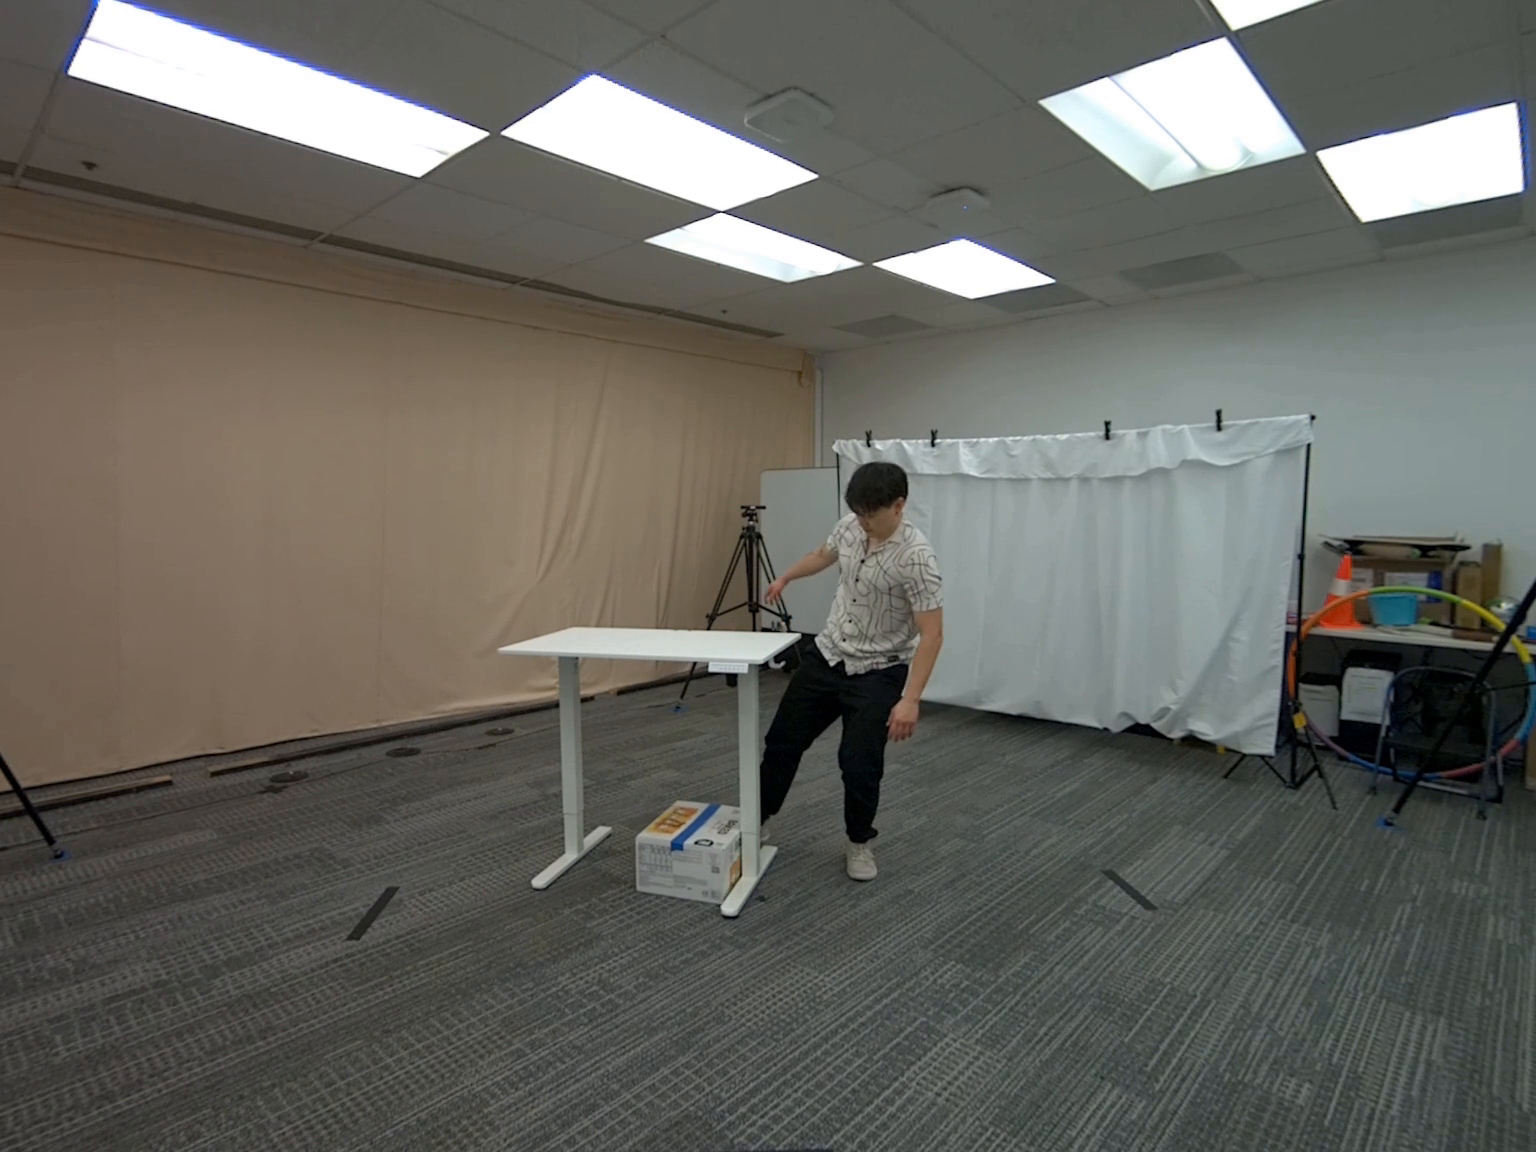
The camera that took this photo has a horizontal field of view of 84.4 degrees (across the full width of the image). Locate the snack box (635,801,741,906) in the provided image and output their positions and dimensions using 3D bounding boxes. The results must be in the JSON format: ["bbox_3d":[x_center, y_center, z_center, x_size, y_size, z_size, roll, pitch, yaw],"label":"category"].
[{"bbox_3d":[-0.255,1.028,3.164,0.347,0.205,0.398,0,4,18],"label":"snack box"}]
